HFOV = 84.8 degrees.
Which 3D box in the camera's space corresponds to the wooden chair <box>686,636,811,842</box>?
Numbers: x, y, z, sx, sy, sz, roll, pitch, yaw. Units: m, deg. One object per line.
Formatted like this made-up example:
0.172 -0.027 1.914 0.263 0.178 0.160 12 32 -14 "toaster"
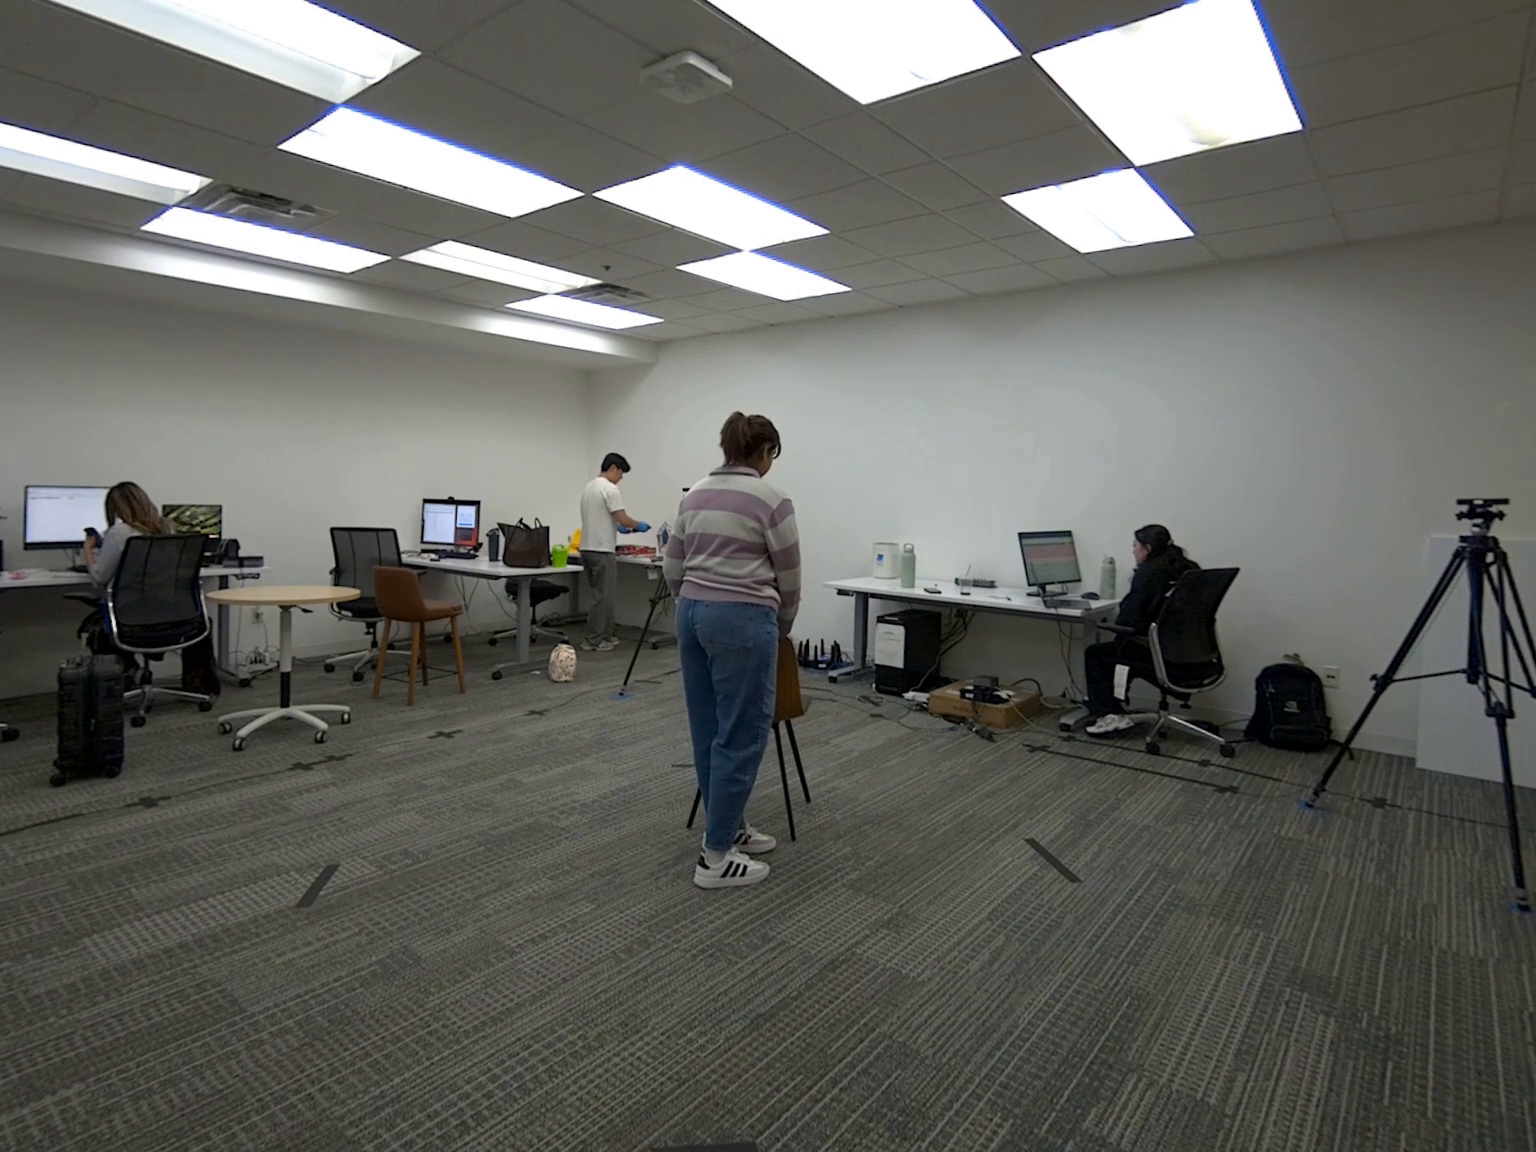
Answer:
-0.077 0.586 3.630 0.485 0.871 0.519 1 8 12 "wooden chair"
